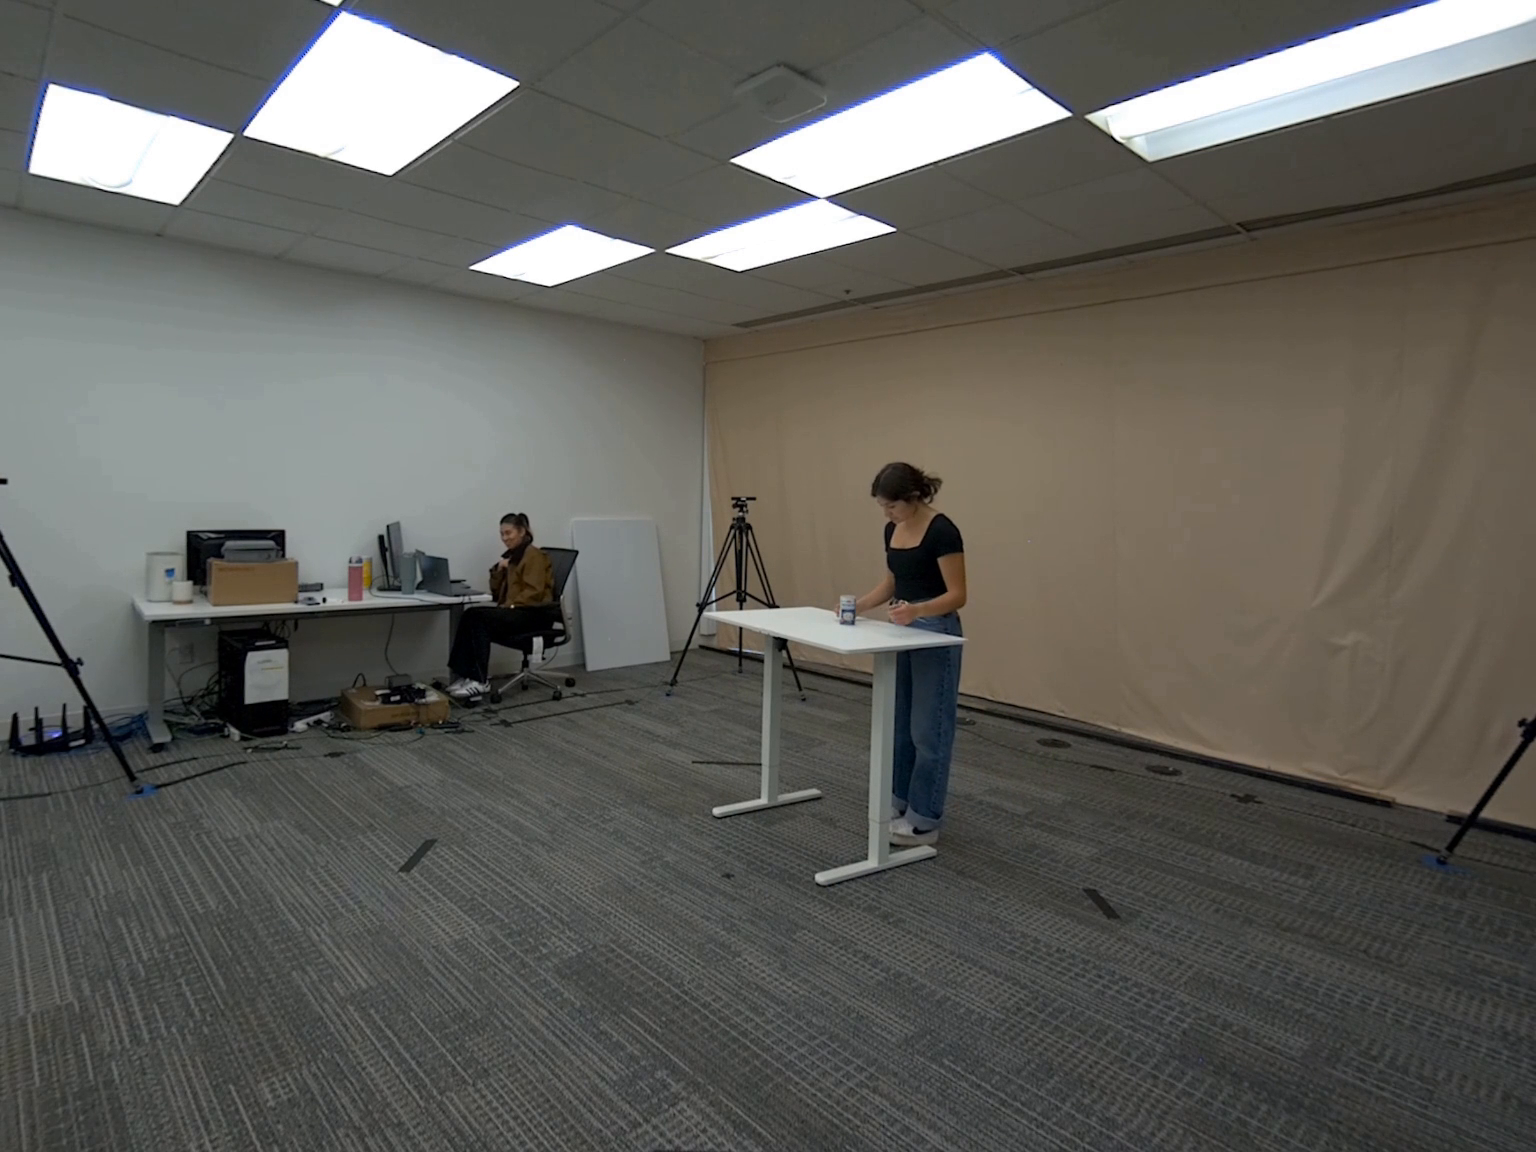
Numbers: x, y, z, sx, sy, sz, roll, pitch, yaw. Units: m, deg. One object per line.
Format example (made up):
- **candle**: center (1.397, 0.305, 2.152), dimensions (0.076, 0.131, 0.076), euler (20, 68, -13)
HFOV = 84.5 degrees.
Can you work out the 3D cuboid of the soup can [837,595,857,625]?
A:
- **soup can**: center (0.331, 0.144, 3.509), dimensions (0.067, 0.121, 0.067), euler (4, 3, -2)
